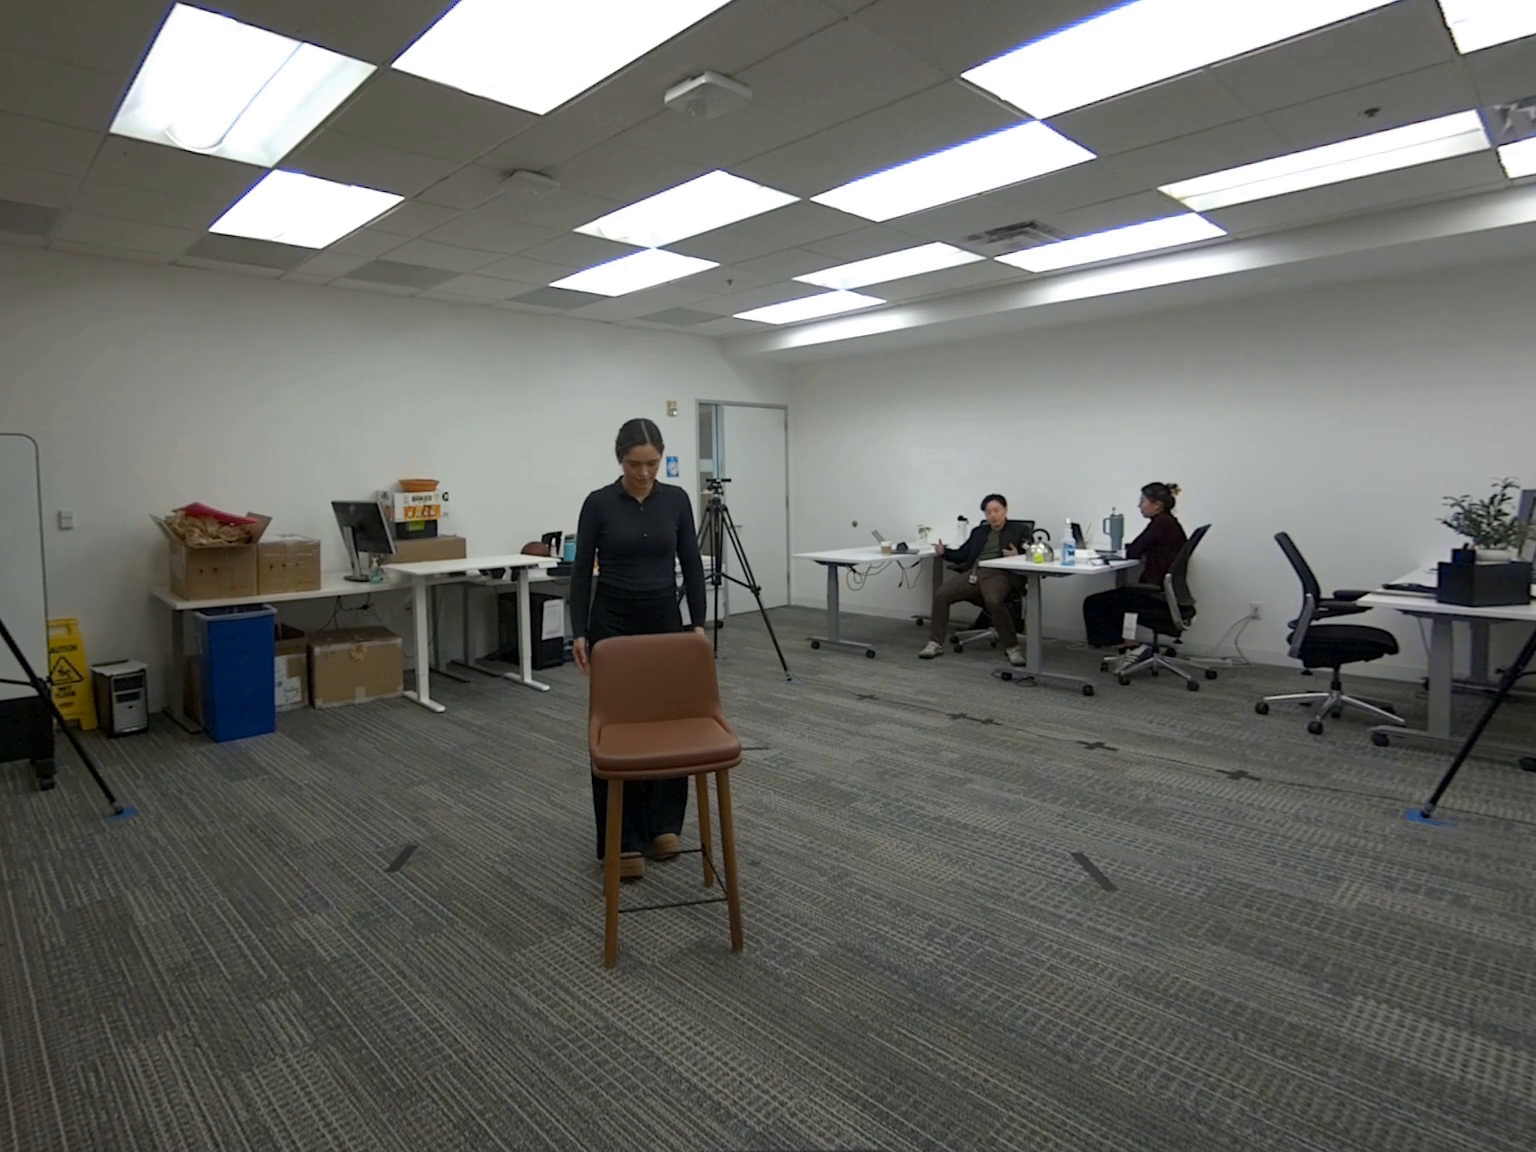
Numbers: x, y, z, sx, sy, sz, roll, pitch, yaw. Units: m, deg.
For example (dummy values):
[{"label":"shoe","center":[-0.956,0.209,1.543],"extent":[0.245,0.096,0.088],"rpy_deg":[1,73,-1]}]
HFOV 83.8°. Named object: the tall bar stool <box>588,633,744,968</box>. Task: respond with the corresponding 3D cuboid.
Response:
[{"label":"tall bar stool","center":[-0.328,0.657,2.693],"extent":[0.451,0.888,0.473],"rpy_deg":[-1,2,-12]}]
